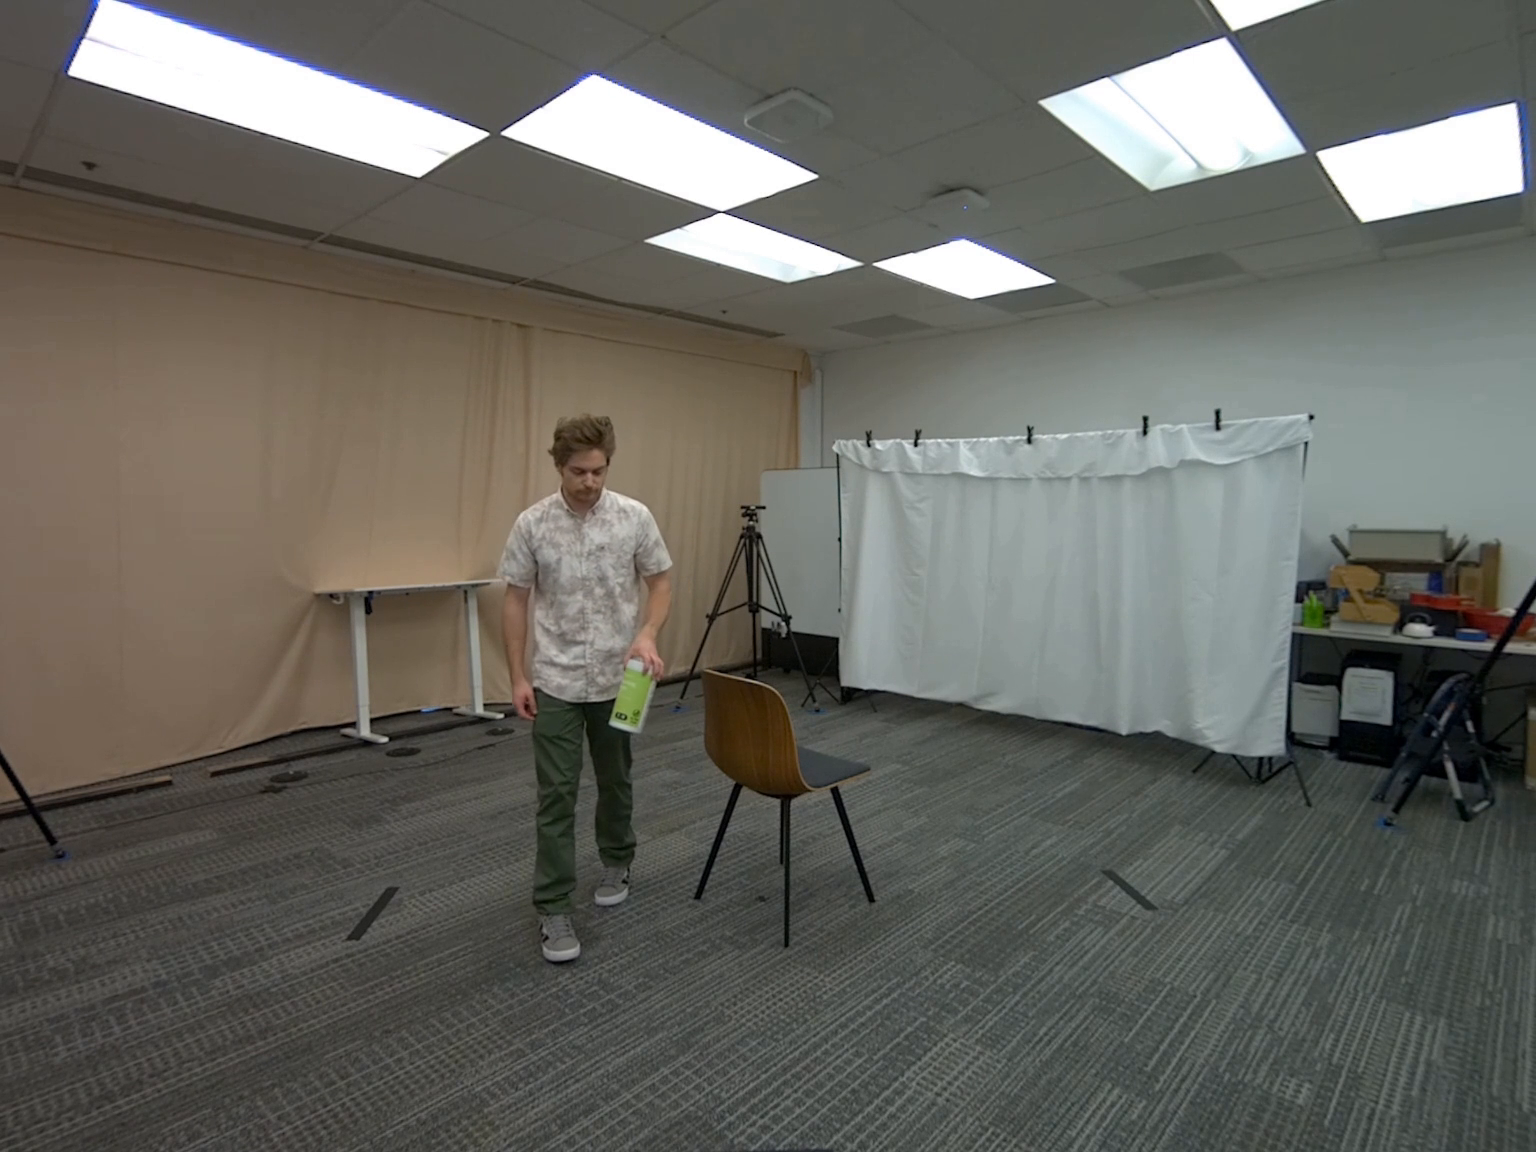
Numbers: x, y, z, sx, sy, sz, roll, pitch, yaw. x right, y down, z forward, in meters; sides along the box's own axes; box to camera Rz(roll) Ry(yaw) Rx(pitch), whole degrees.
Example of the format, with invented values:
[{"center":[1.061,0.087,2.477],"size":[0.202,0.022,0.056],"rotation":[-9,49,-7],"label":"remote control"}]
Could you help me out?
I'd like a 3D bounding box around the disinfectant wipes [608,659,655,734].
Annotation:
[{"center":[-0.419,0.380,2.668],"size":[0.118,0.218,0.117],"rotation":[14,-7,0],"label":"disinfectant wipes"}]
